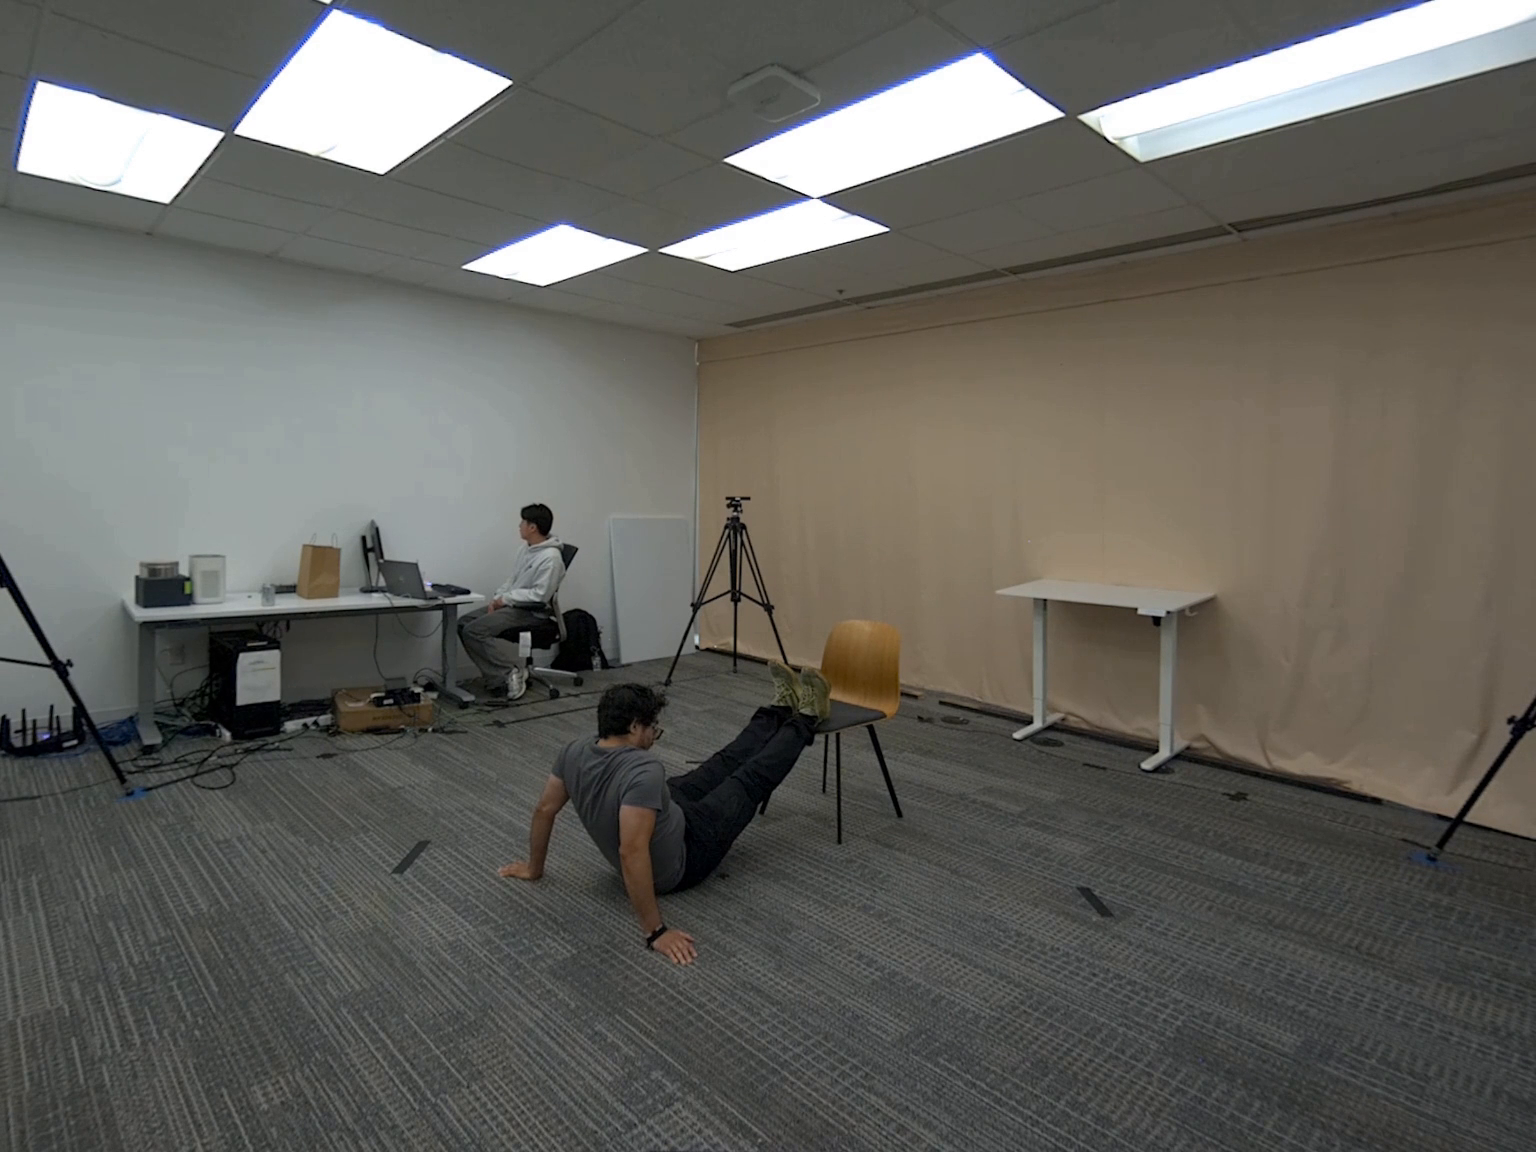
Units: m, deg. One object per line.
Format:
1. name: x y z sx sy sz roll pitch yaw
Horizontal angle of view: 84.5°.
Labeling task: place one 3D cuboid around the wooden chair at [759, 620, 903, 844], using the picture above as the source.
1. wooden chair: 0.275 0.640 3.700 0.490 0.877 0.510 4 0 44
